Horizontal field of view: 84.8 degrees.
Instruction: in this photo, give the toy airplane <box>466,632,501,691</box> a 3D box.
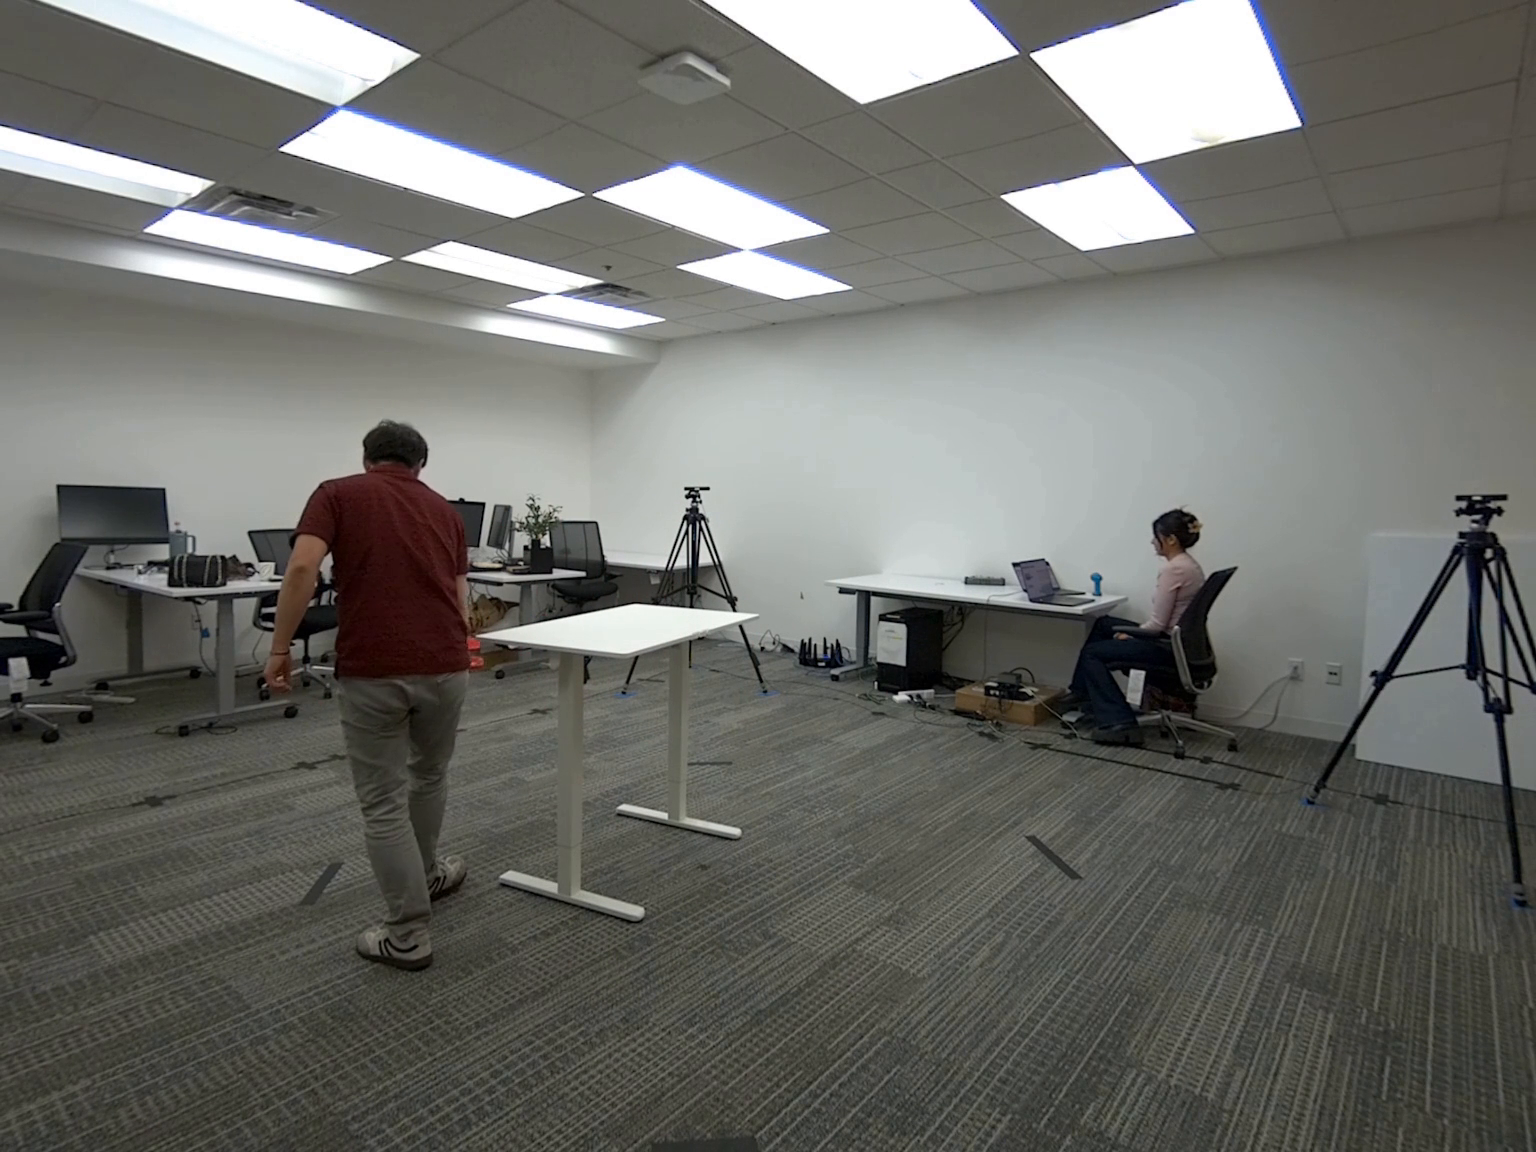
[{"bbox_3d":[-1.158,0.317,3.086,0.244,0.155,0.268,-5,8,-39],"label":"toy airplane"}]
